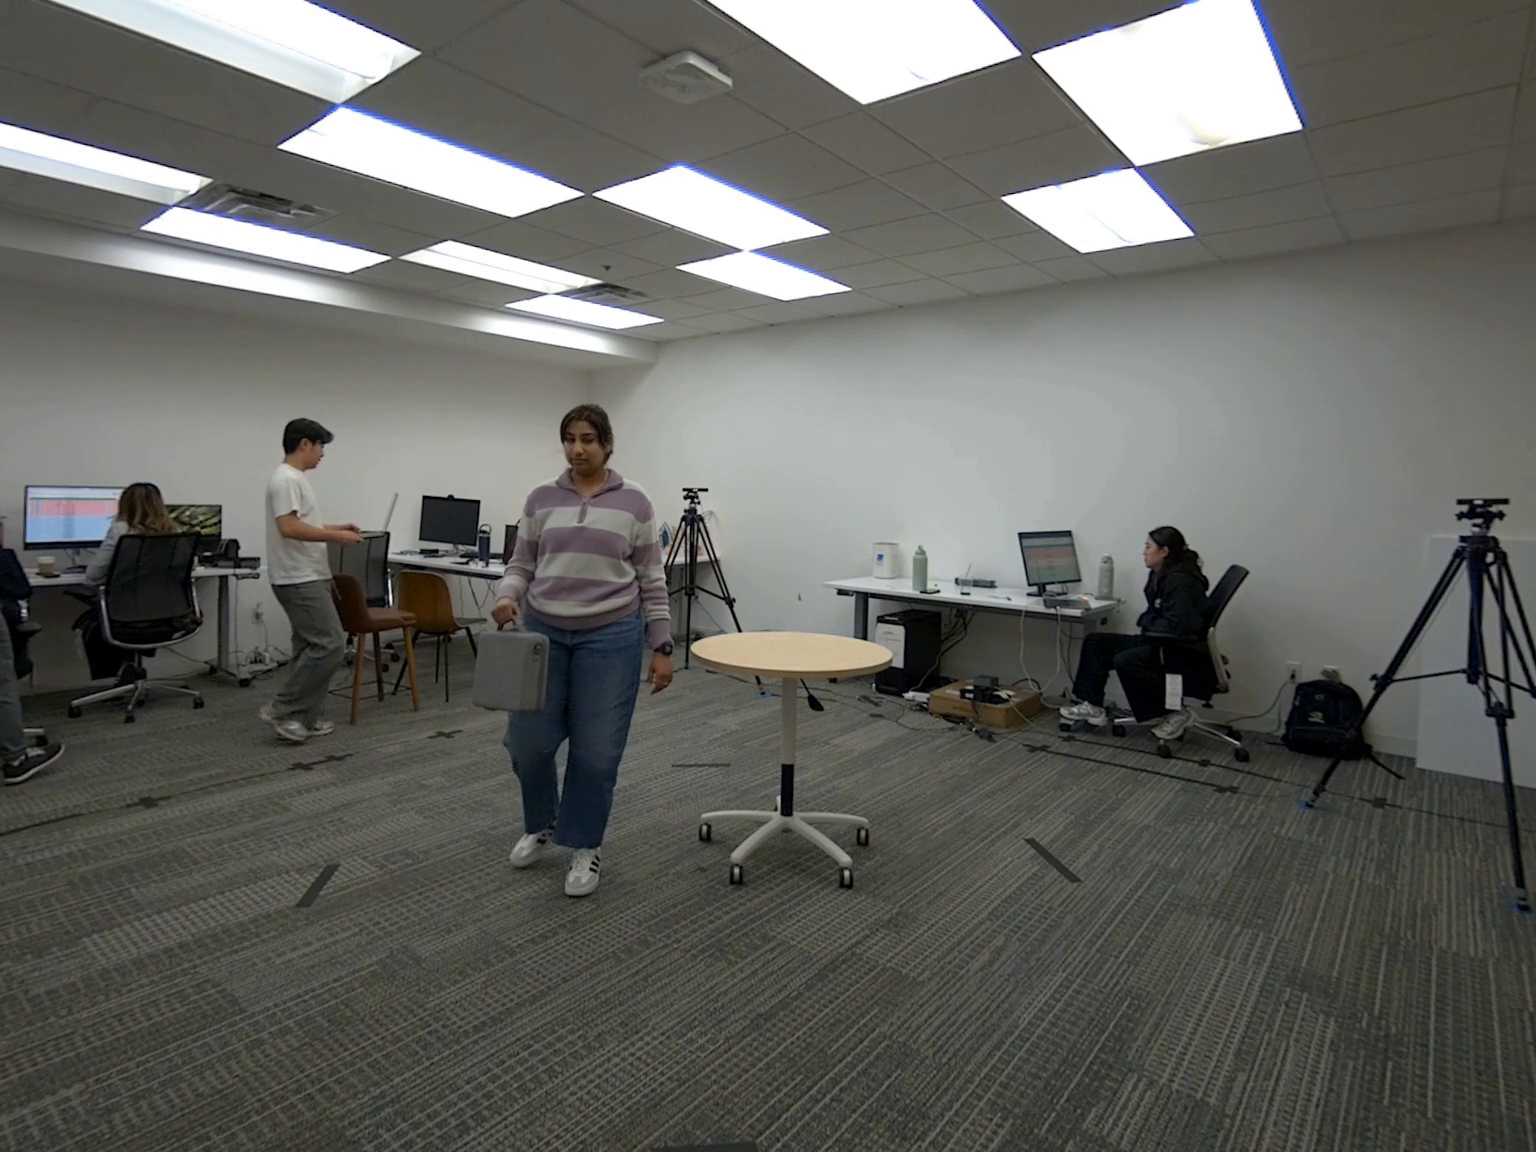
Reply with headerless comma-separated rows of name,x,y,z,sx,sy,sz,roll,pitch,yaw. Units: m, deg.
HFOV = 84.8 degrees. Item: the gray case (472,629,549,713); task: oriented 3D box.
gray case,-0.841,0.302,2.747,0.264,0.262,0.100,-3,-9,37
